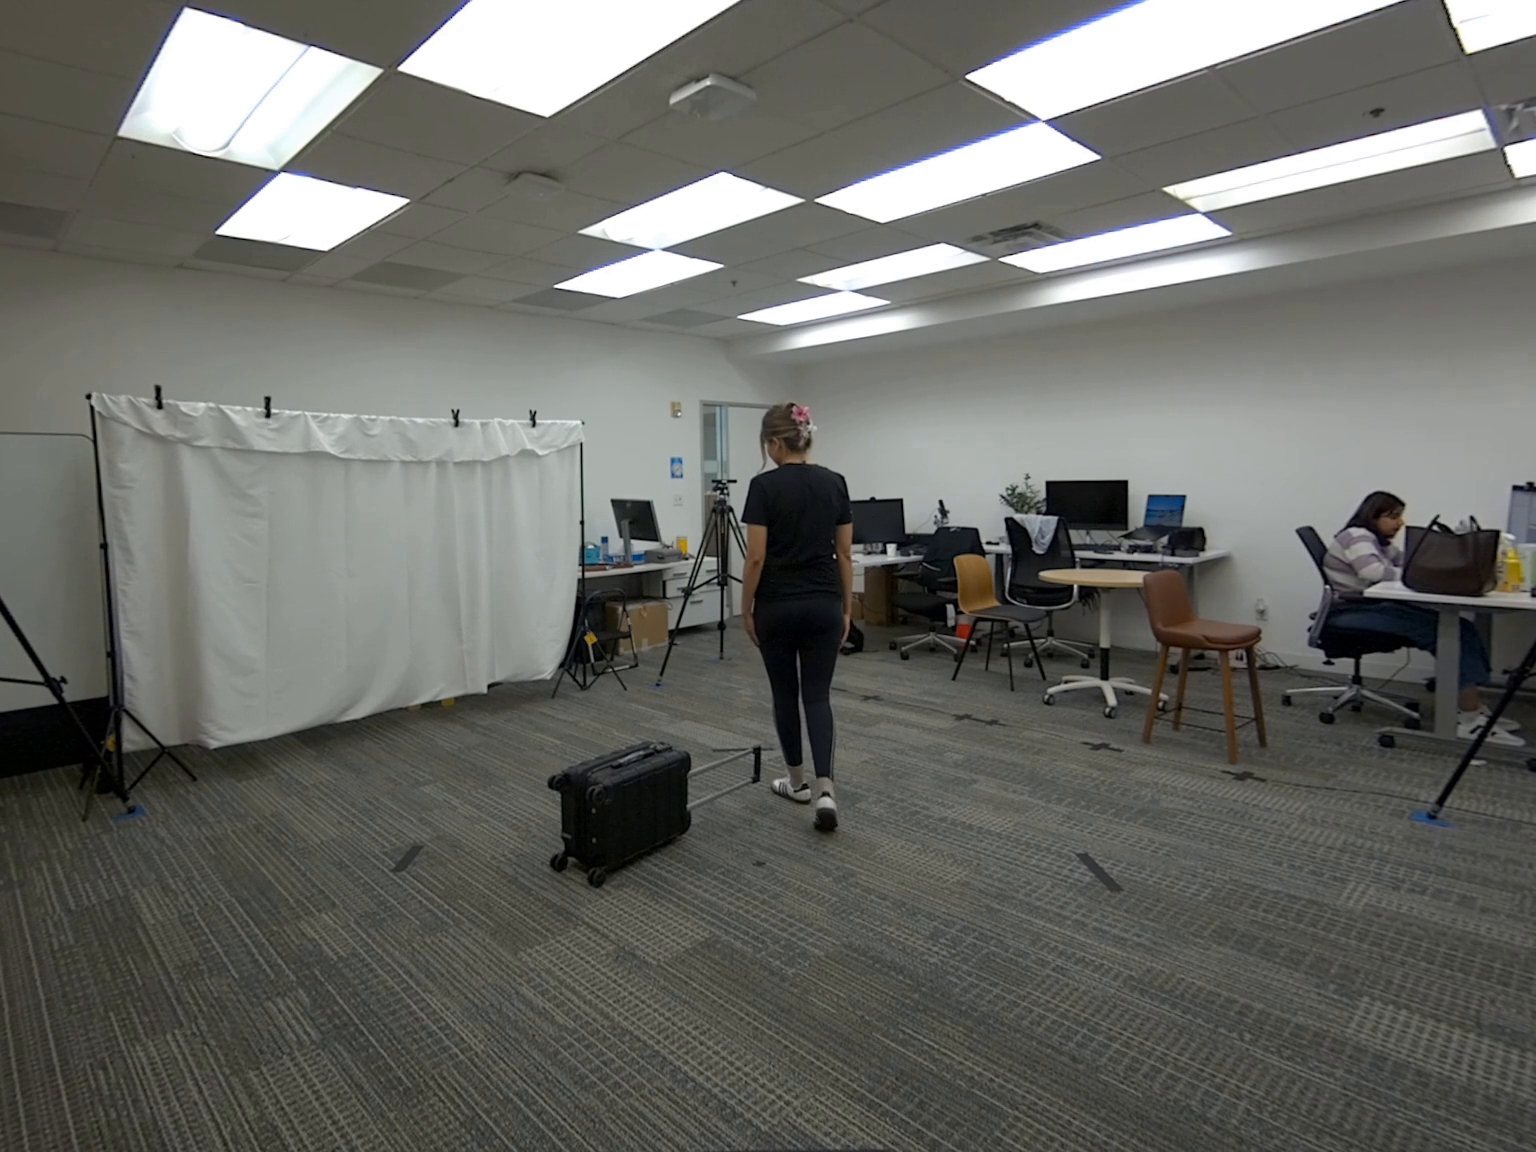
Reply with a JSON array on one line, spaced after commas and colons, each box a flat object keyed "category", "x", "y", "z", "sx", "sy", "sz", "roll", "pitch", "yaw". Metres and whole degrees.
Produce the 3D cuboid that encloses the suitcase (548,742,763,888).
[{"category": "suitcase", "x": -0.418, "y": 0.838, "z": 3.374, "sx": 0.264, "sy": 0.382, "sz": 0.955, "roll": 2, "pitch": 7, "yaw": 35}]
